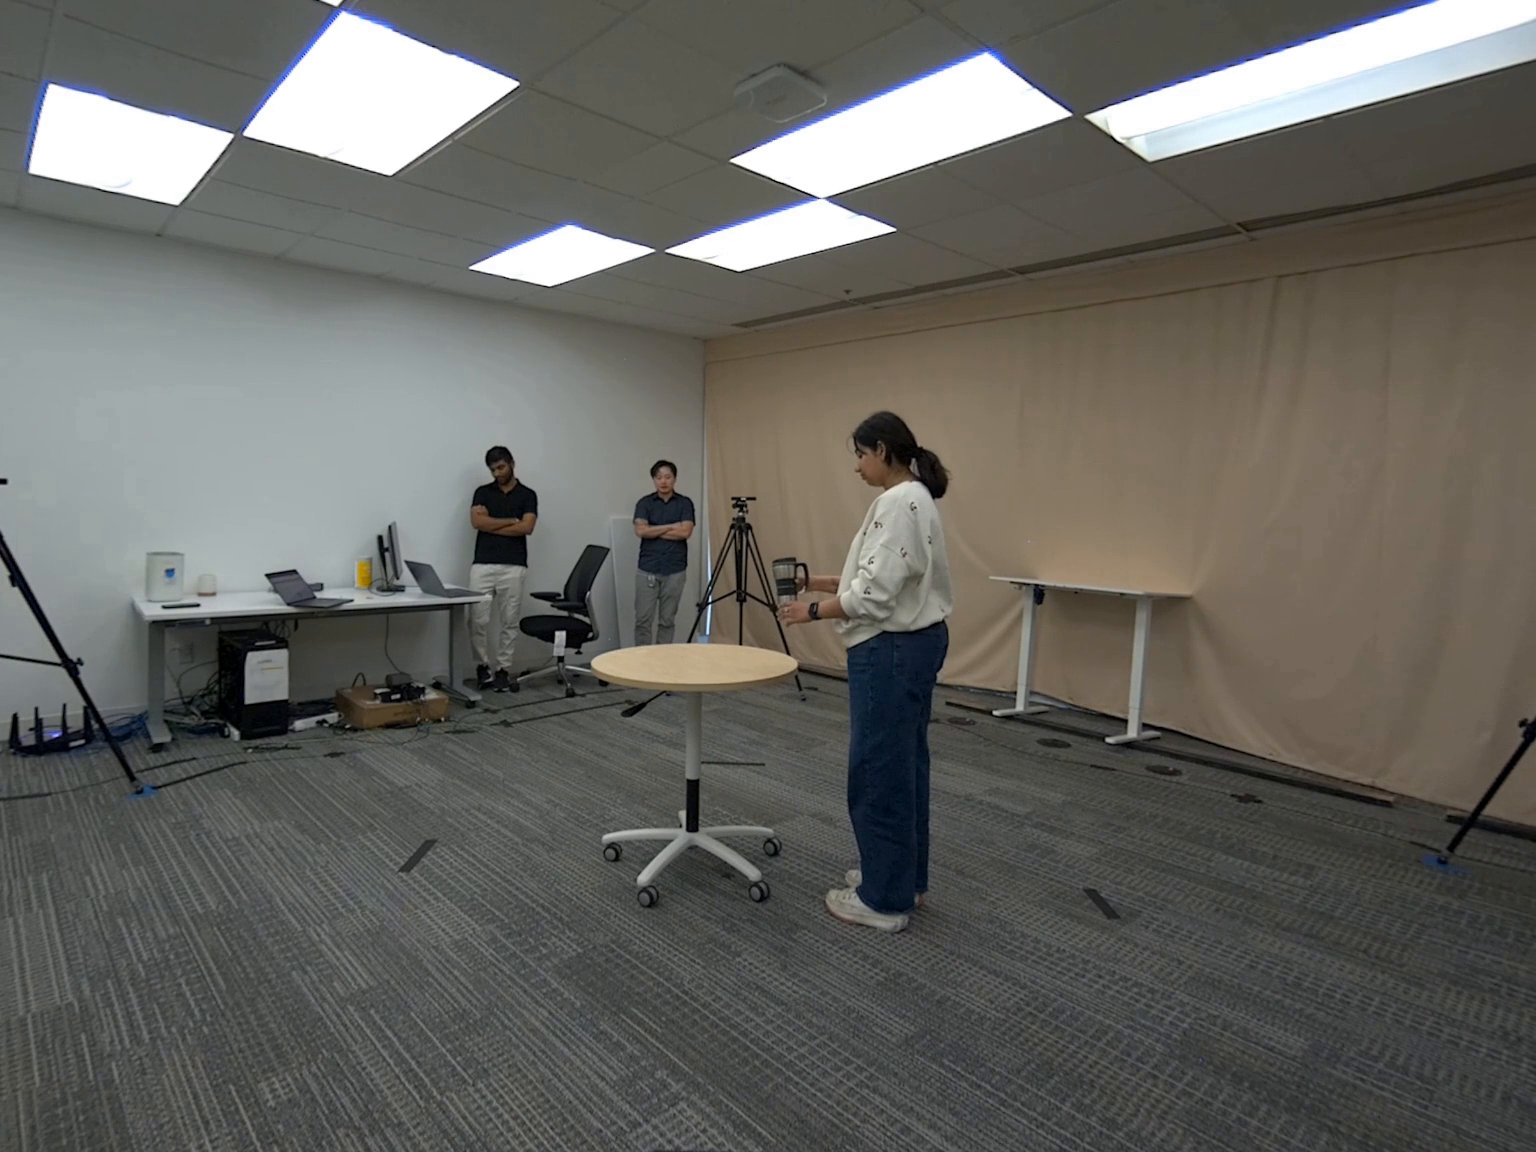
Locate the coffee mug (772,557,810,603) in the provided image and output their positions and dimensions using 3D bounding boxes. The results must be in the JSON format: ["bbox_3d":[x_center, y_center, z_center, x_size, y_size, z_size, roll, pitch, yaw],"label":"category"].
[{"bbox_3d":[0.080,0.042,2.952,0.124,0.204,0.086,-11,-10,33],"label":"coffee mug"}]
